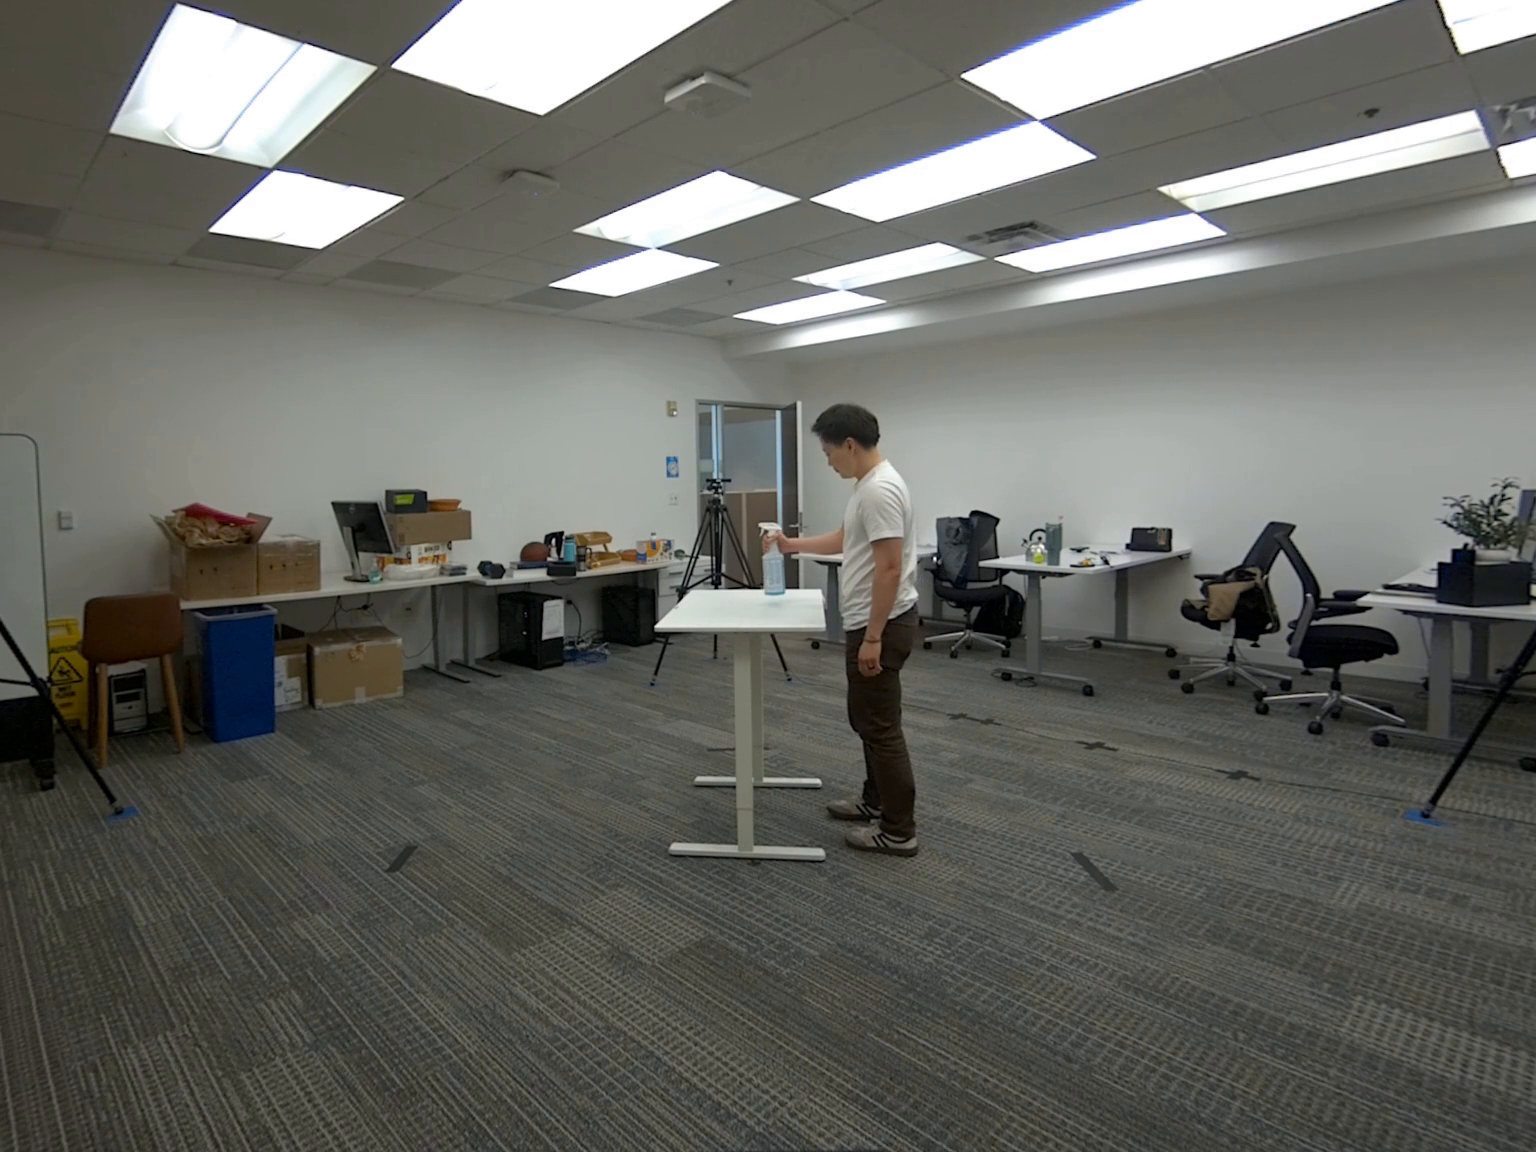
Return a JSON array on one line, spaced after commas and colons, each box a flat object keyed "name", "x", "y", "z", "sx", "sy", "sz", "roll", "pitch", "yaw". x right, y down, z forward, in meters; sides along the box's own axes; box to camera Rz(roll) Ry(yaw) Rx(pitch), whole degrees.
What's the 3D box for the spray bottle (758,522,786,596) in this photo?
[{"name": "spray bottle", "x": 0.021, "y": -0.073, "z": 3.505, "sx": 0.092, "sy": 0.296, "sz": 0.085, "roll": -3, "pitch": 3, "yaw": 28}]
